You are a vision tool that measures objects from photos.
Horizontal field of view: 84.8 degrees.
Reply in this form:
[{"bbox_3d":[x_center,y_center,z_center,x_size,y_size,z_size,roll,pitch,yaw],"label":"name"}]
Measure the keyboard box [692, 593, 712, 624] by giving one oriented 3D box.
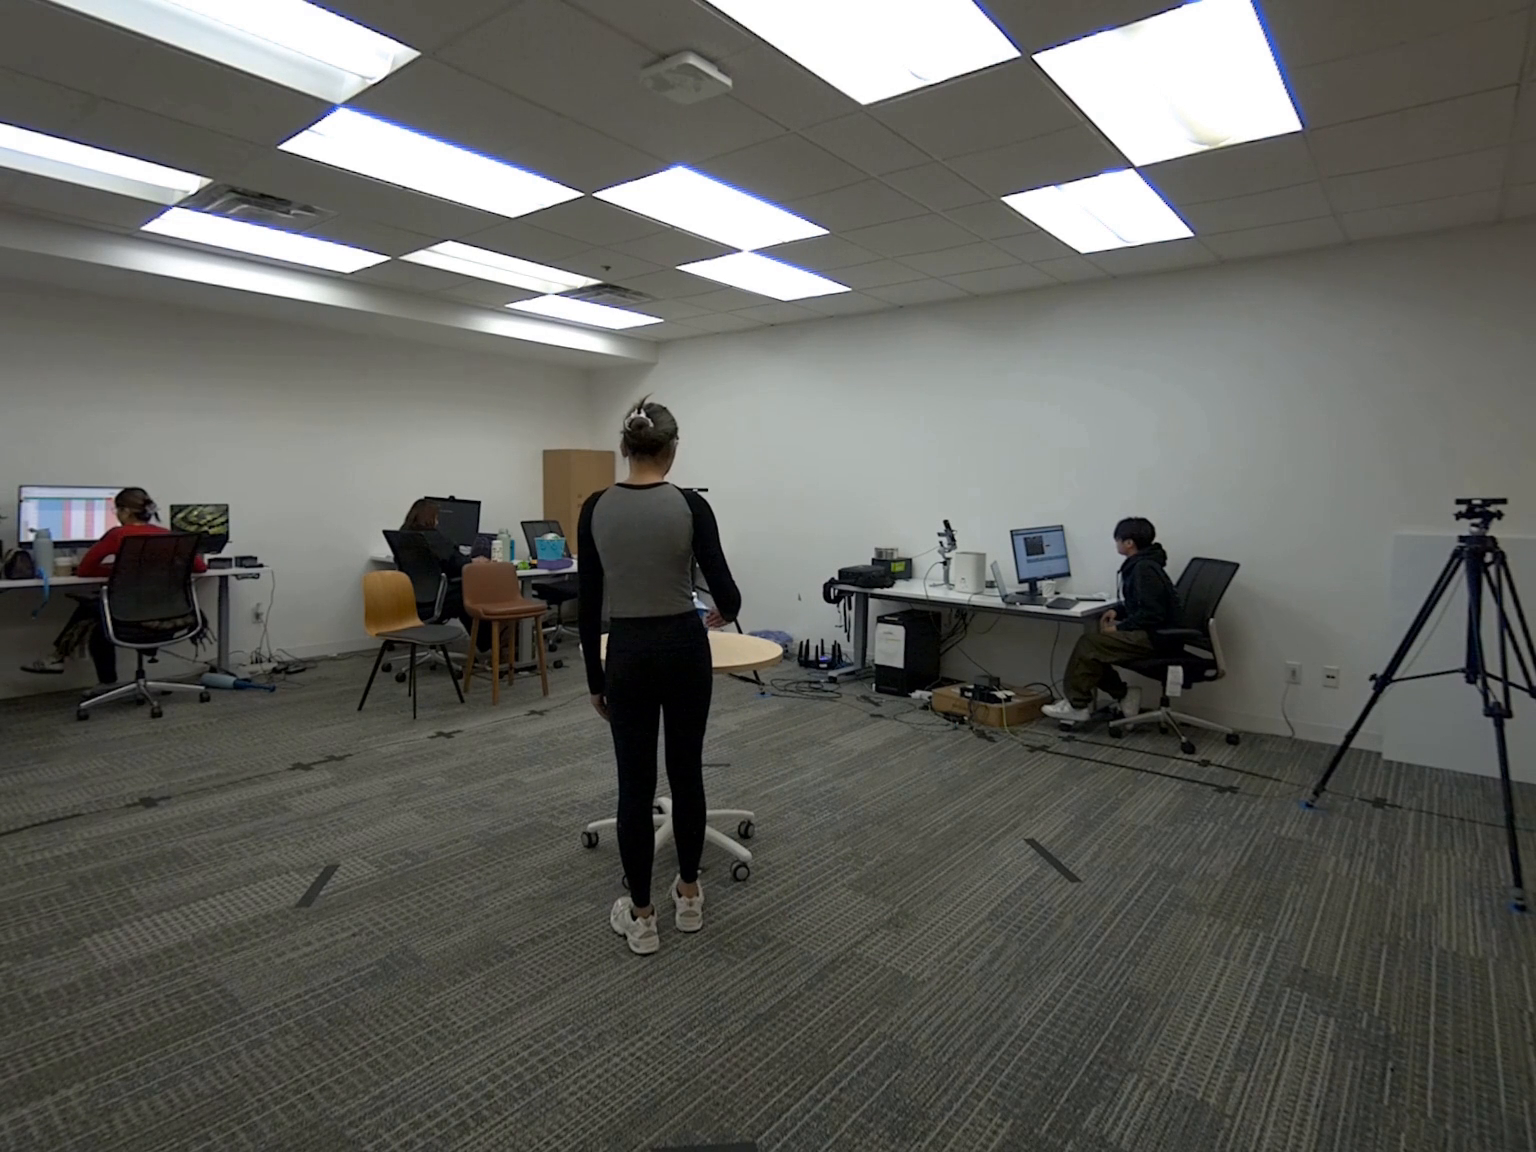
[{"bbox_3d":[-0.303,0.176,3.222,0.058,0.175,0.444,4,4,-14],"label":"keyboard box"}]
